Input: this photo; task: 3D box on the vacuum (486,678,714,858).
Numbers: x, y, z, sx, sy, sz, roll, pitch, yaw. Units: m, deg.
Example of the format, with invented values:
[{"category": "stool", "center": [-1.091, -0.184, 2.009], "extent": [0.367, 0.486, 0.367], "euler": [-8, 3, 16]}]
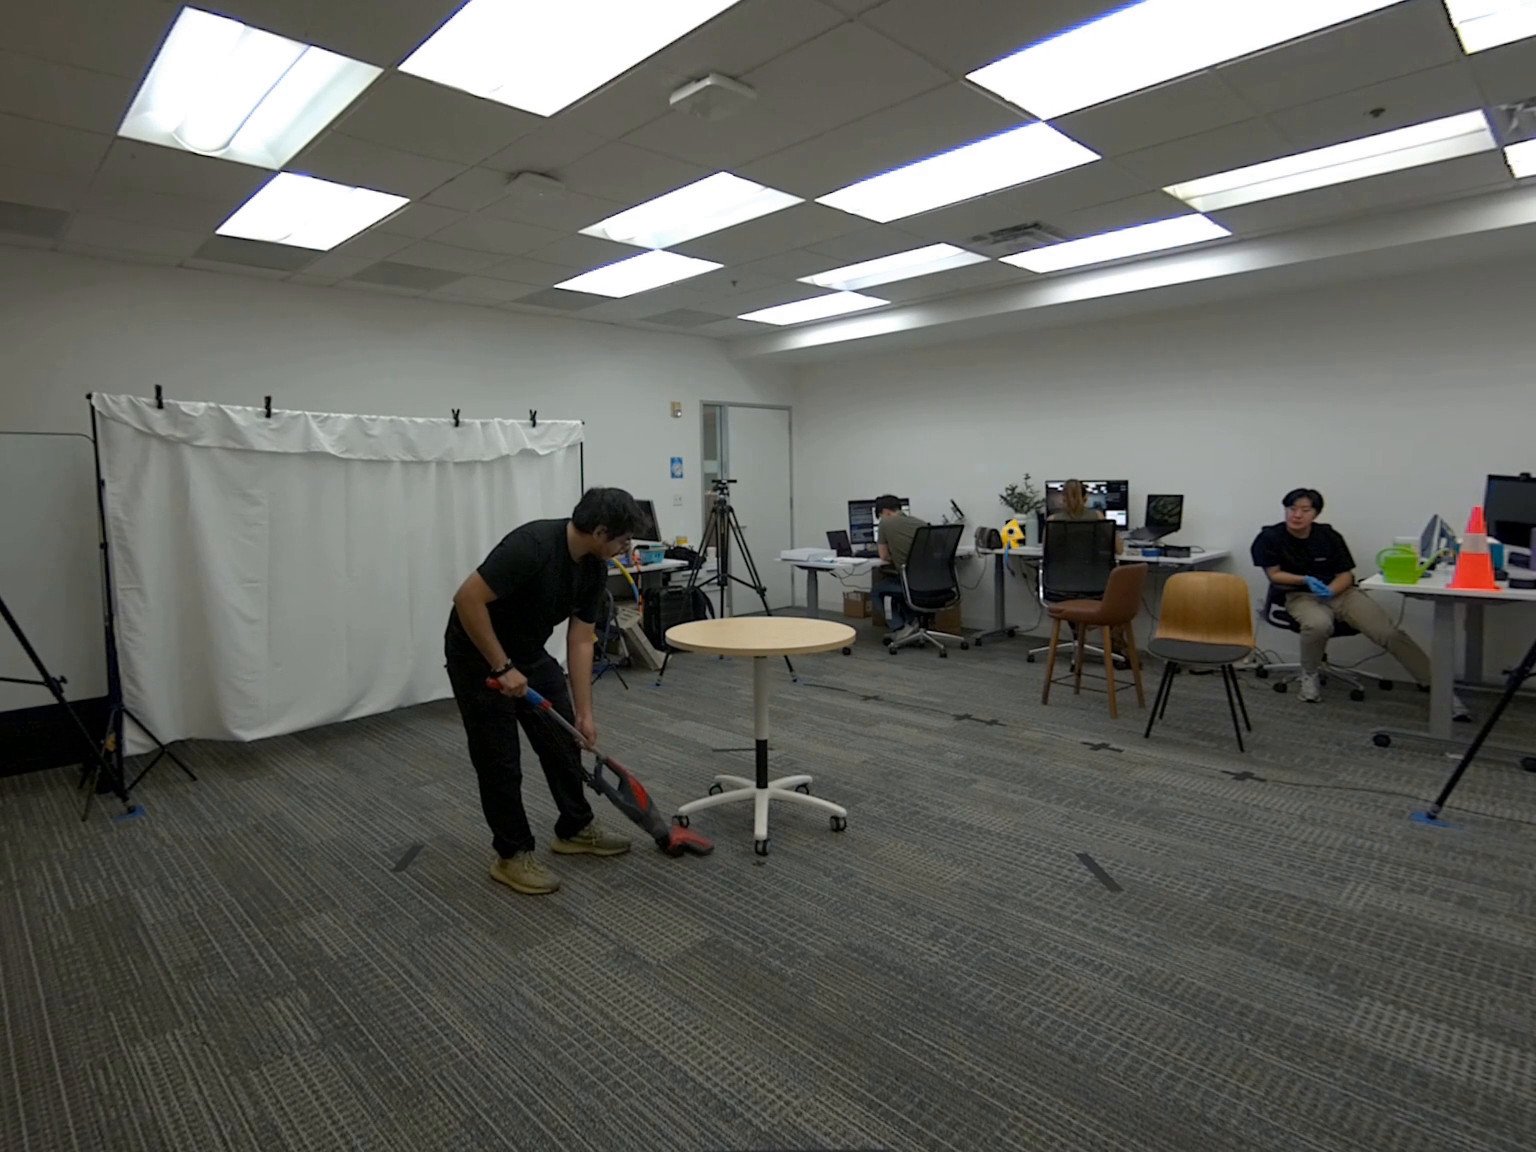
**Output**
[{"category": "vacuum", "center": [-0.603, 0.673, 3.008], "extent": [0.261, 0.144, 1.014], "euler": [10, -34, 53]}]
